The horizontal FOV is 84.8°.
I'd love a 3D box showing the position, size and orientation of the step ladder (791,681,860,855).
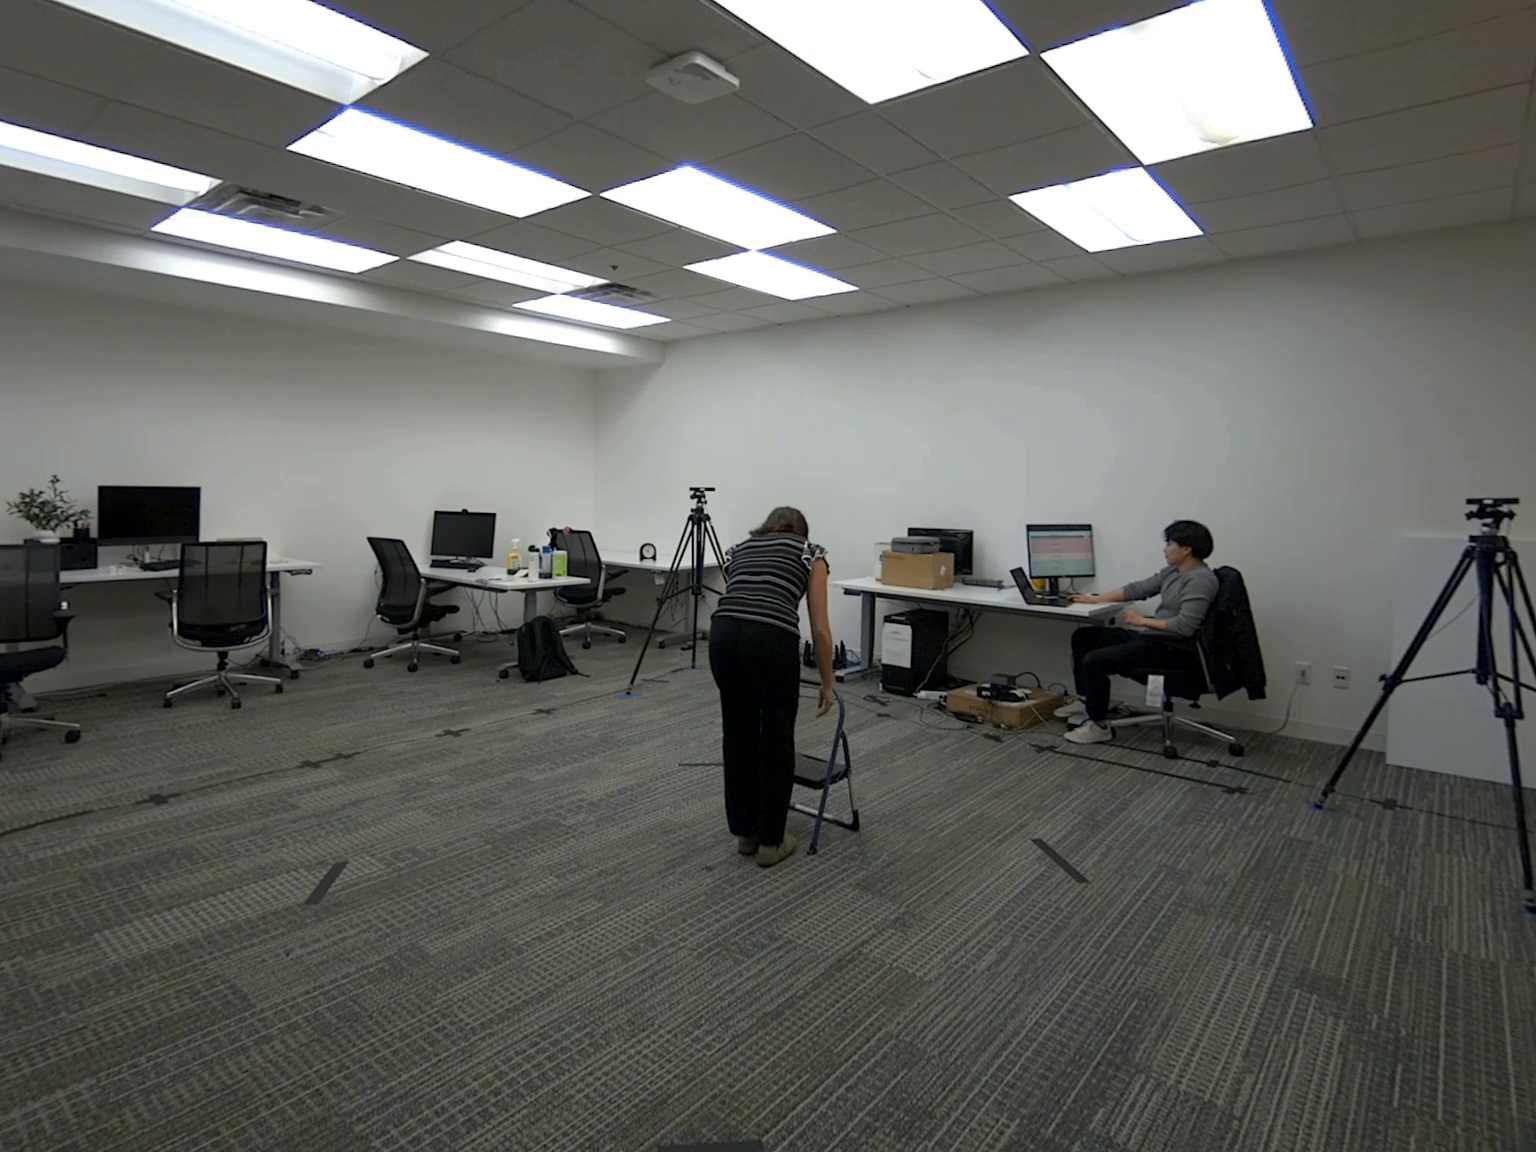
[{"bbox_3d":[0.112,0.733,3.495,0.445,0.604,0.339,4,4,40],"label":"step ladder"}]
